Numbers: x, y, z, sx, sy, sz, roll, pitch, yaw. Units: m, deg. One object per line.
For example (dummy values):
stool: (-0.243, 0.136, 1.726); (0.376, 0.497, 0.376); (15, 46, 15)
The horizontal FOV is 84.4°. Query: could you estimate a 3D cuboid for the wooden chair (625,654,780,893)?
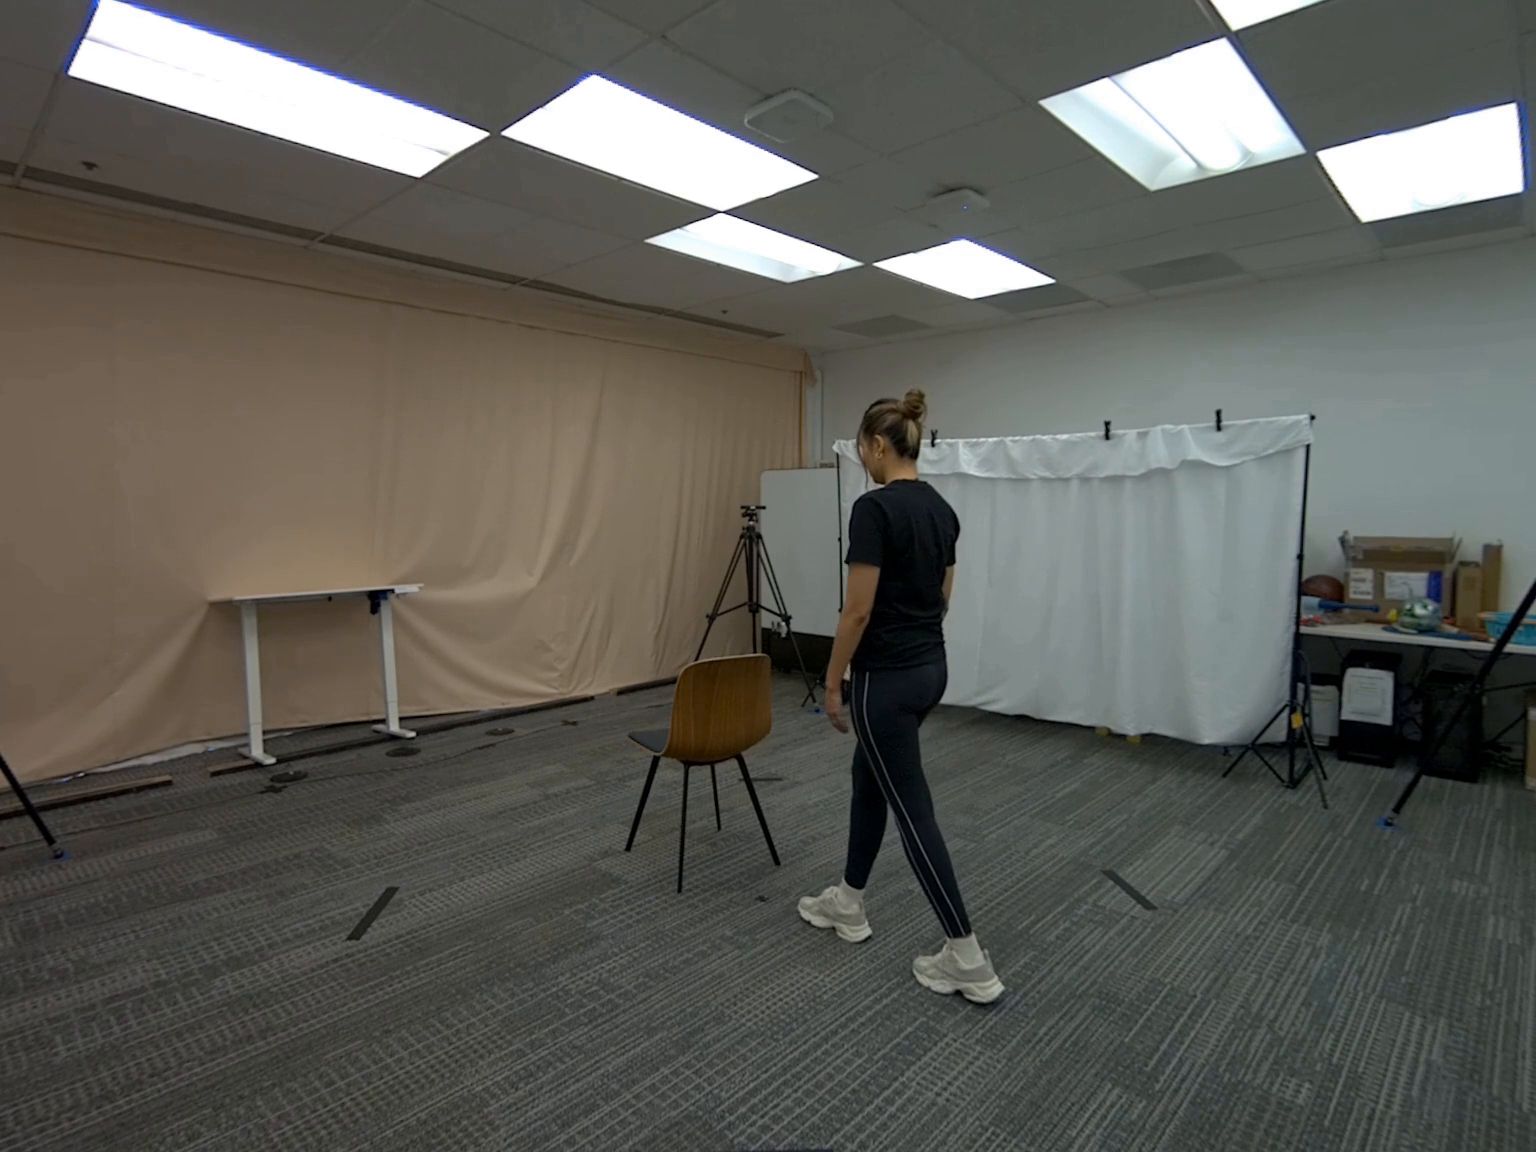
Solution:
wooden chair: (-0.274, 0.691, 3.312); (0.465, 0.874, 0.540); (-3, 8, -33)
